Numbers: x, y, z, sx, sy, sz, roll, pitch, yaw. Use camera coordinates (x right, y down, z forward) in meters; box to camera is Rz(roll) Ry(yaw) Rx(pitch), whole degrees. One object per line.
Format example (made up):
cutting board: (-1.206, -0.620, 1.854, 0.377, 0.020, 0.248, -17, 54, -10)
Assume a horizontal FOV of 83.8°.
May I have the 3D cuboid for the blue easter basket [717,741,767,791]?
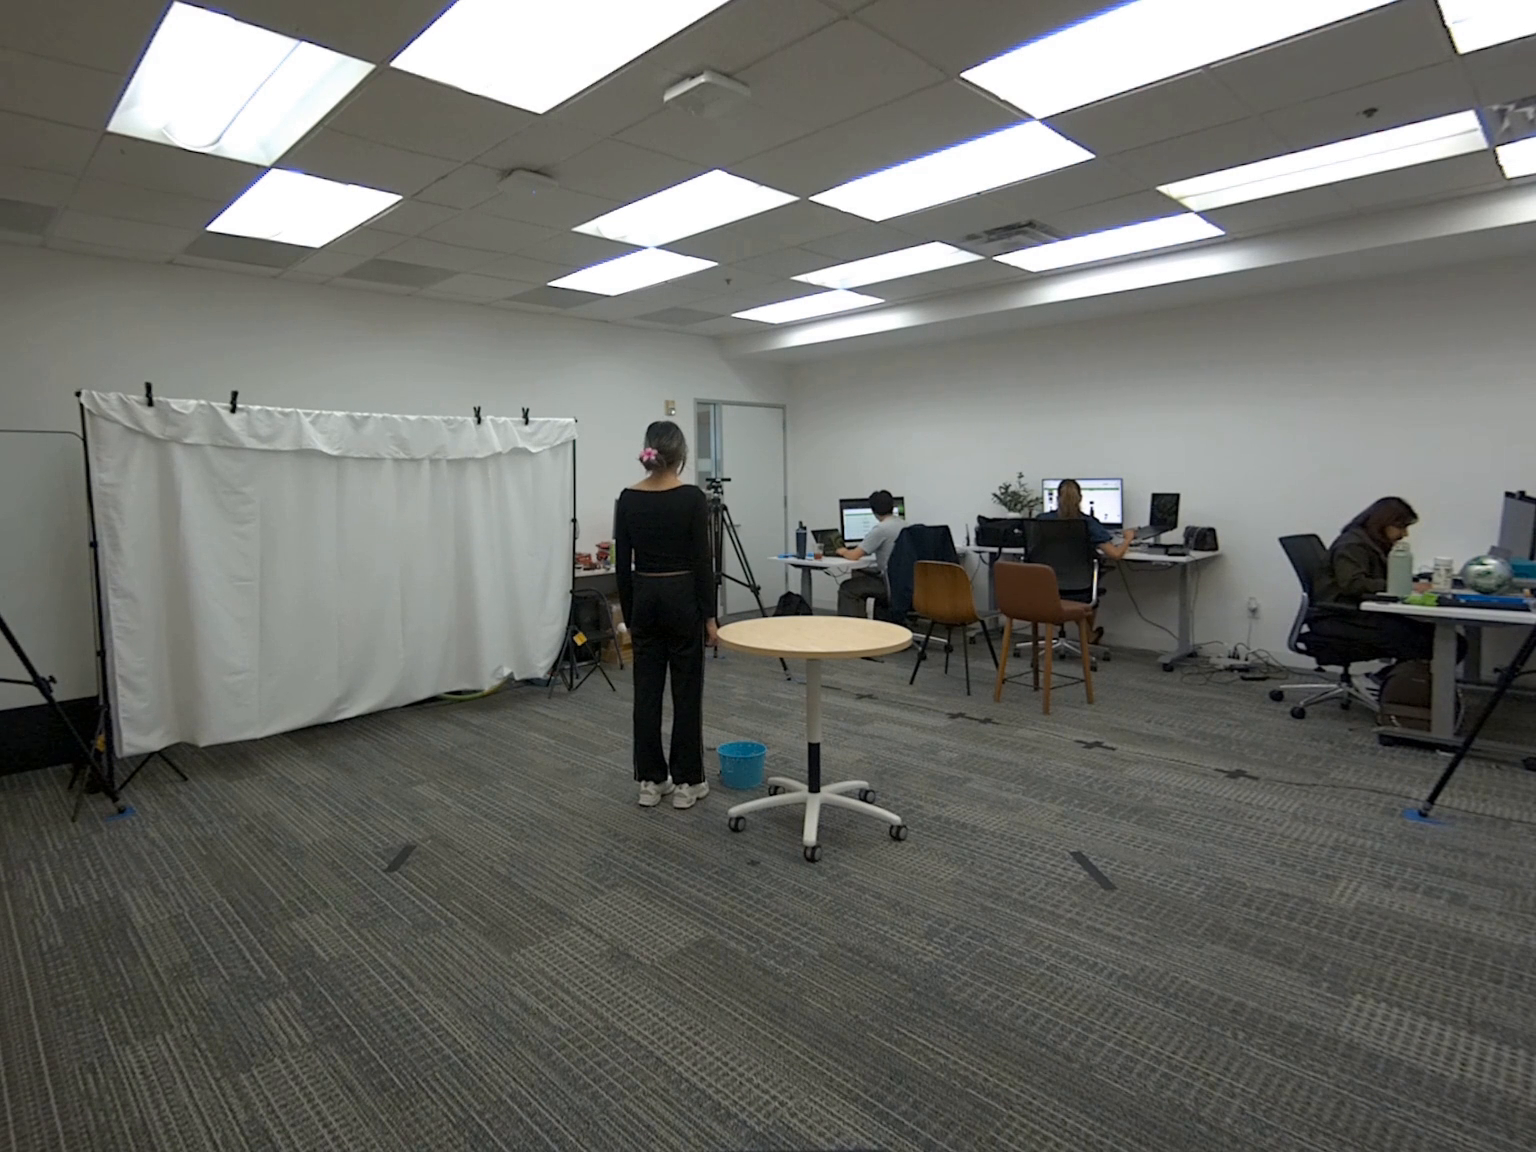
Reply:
blue easter basket: (-0.122, 0.870, 3.949, 0.243, 0.155, 0.245, -1, 5, -2)
